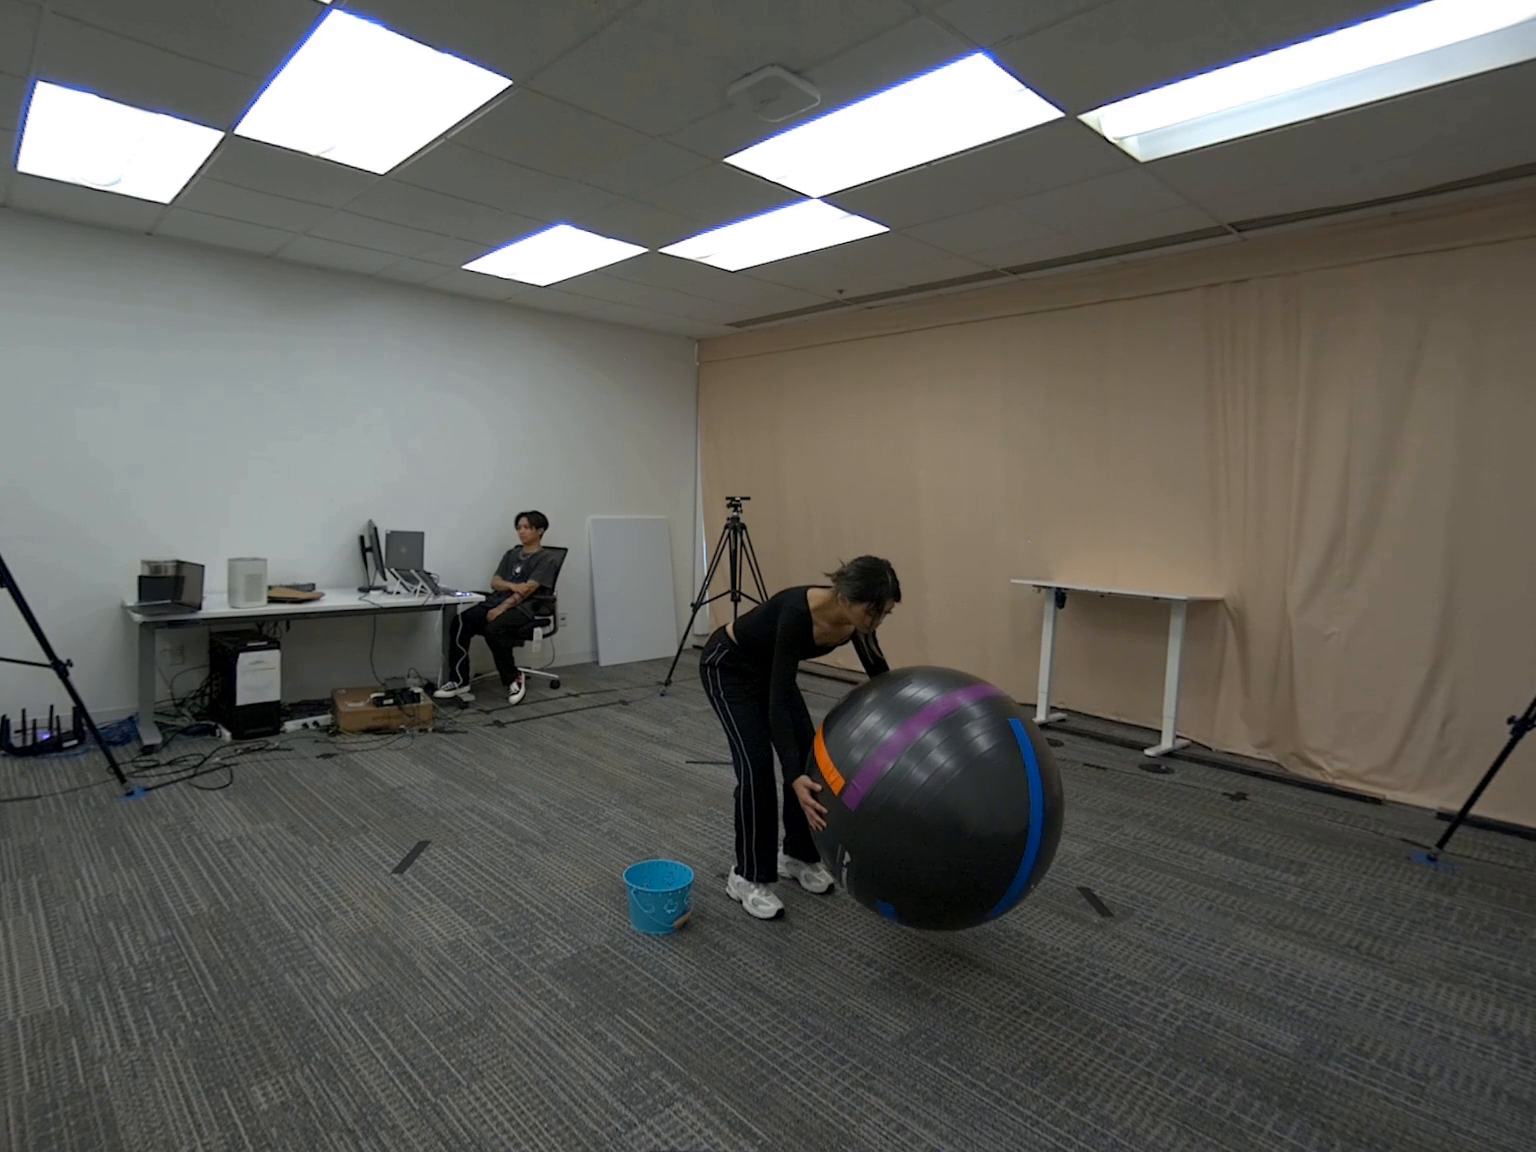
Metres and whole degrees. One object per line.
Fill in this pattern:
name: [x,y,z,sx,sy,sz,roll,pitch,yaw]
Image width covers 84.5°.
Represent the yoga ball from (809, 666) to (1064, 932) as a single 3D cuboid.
yoga ball: [0.487,0.656,2.524,0.757,0.756,0.761,1,4,-1]
